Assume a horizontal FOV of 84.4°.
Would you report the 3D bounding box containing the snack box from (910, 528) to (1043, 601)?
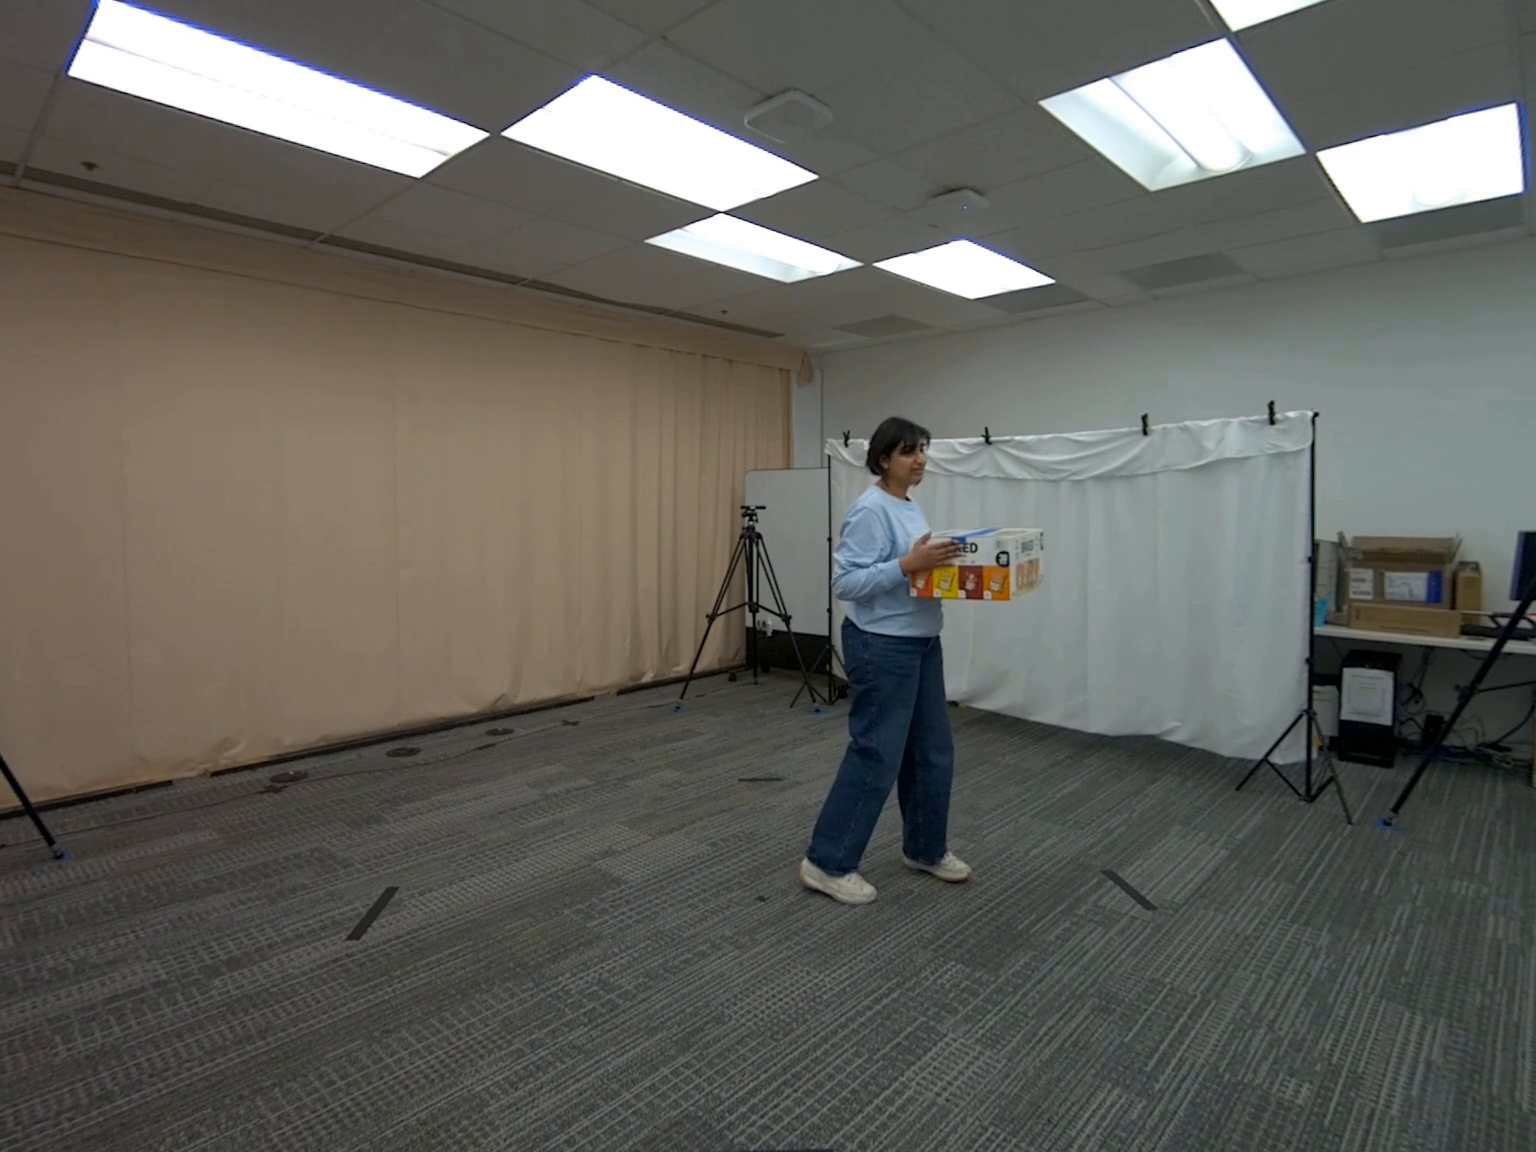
[{"bbox_3d":[0.721,-0.046,2.906,0.351,0.205,0.394,2,7,33],"label":"snack box"}]
